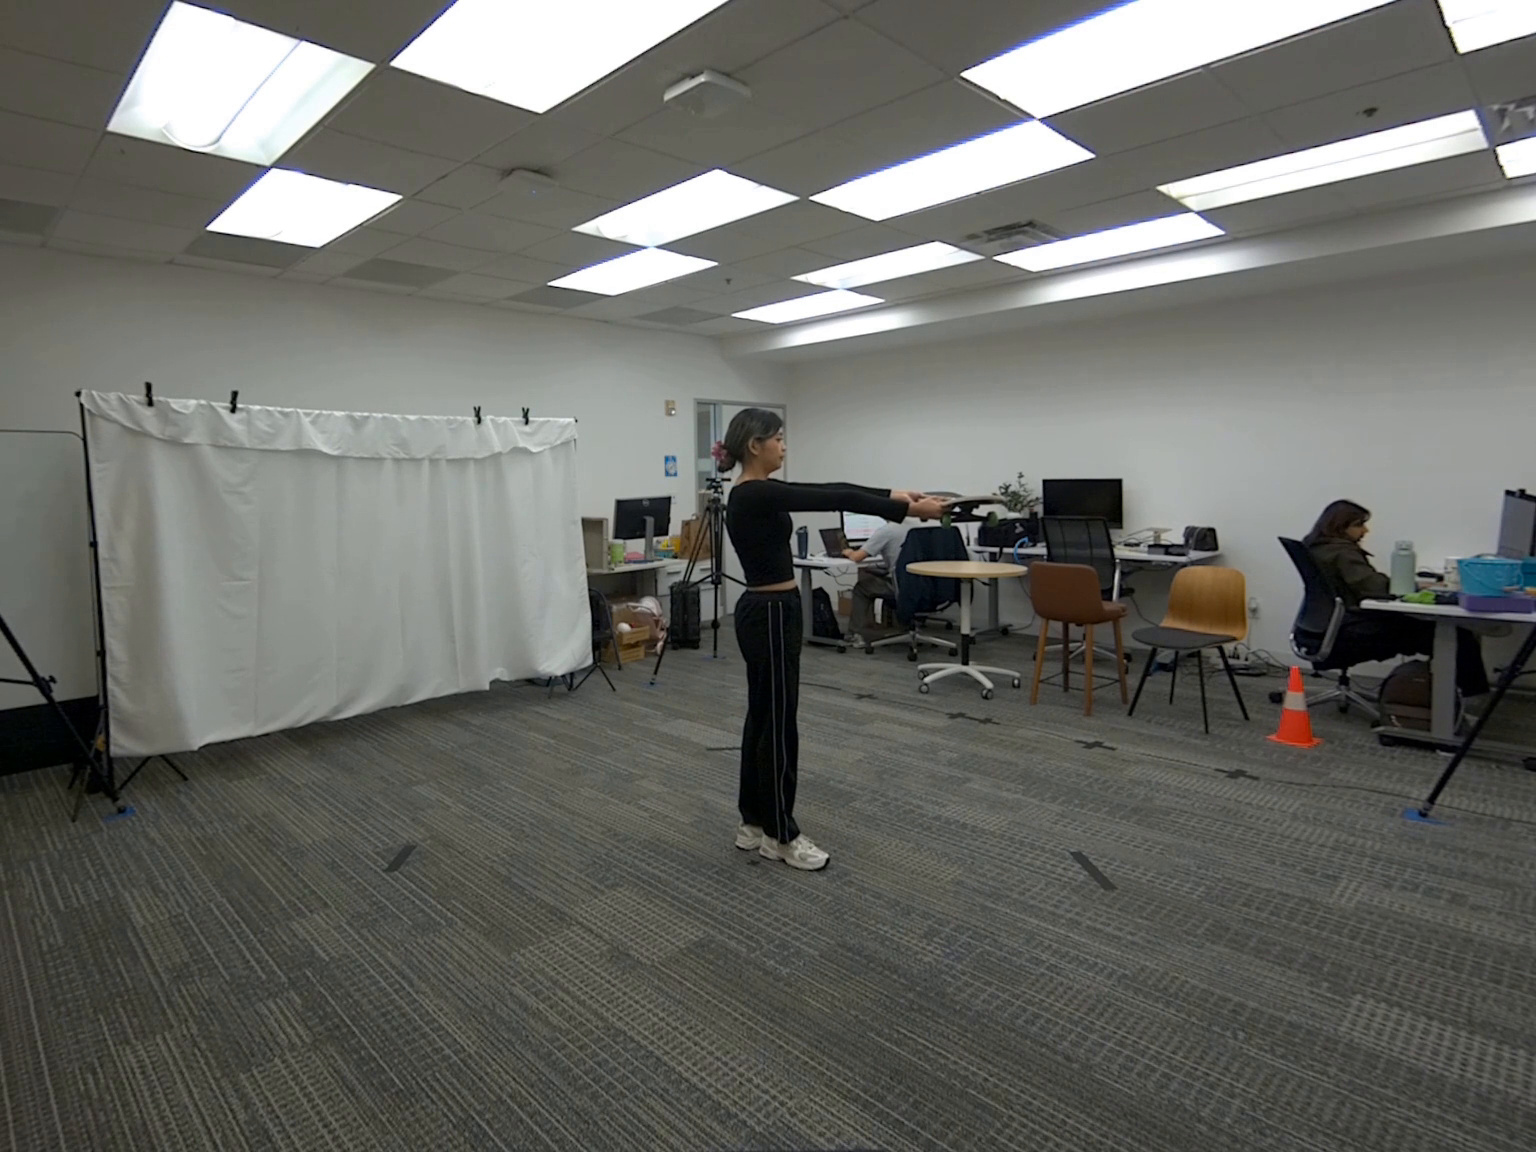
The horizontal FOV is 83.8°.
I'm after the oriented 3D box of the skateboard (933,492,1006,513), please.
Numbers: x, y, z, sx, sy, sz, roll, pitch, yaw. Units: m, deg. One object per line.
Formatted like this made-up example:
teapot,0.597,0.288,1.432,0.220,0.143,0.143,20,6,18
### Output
skateboard,0.667,-0.238,3.039,0.193,0.110,0.789,-2,6,-2
